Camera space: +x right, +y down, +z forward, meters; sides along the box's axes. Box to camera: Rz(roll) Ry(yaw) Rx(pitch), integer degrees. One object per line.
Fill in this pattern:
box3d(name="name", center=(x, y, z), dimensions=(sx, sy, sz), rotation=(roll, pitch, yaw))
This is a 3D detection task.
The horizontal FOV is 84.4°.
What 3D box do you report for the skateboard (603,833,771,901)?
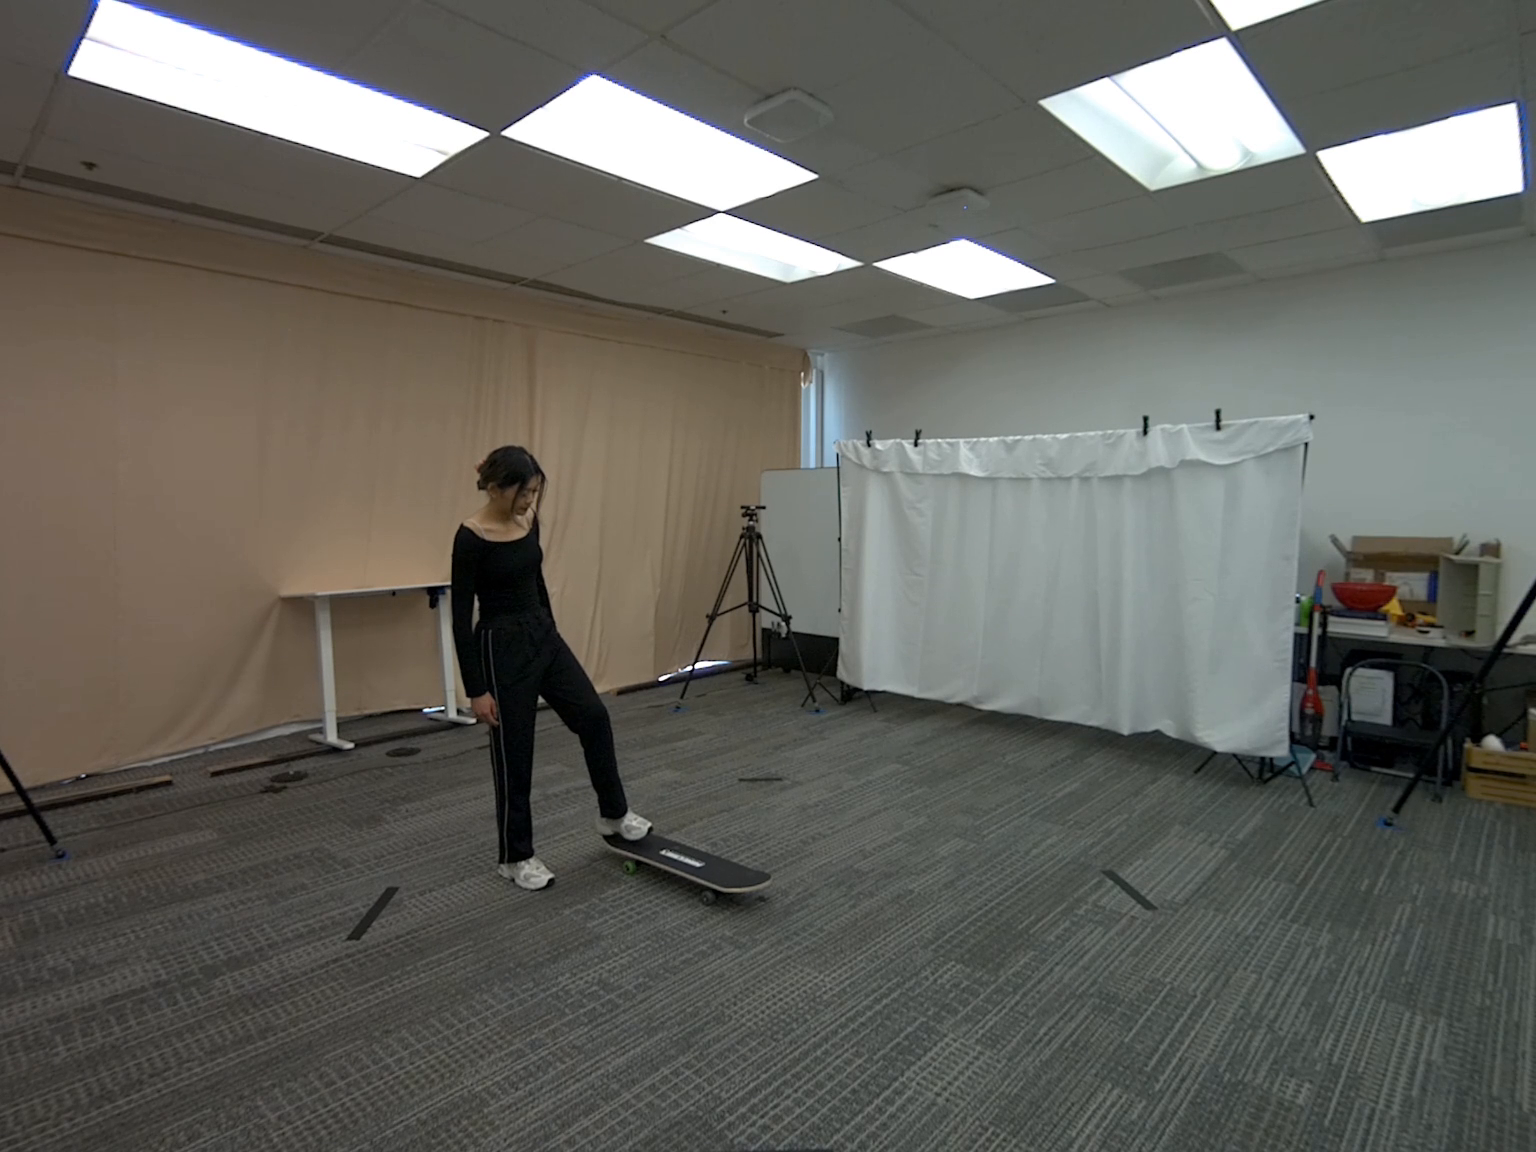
box3d(name="skateboard", center=(-0.320, 1.079, 3.120), dimensions=(0.811, 0.110, 0.188), rotation=(3, 4, 39))
